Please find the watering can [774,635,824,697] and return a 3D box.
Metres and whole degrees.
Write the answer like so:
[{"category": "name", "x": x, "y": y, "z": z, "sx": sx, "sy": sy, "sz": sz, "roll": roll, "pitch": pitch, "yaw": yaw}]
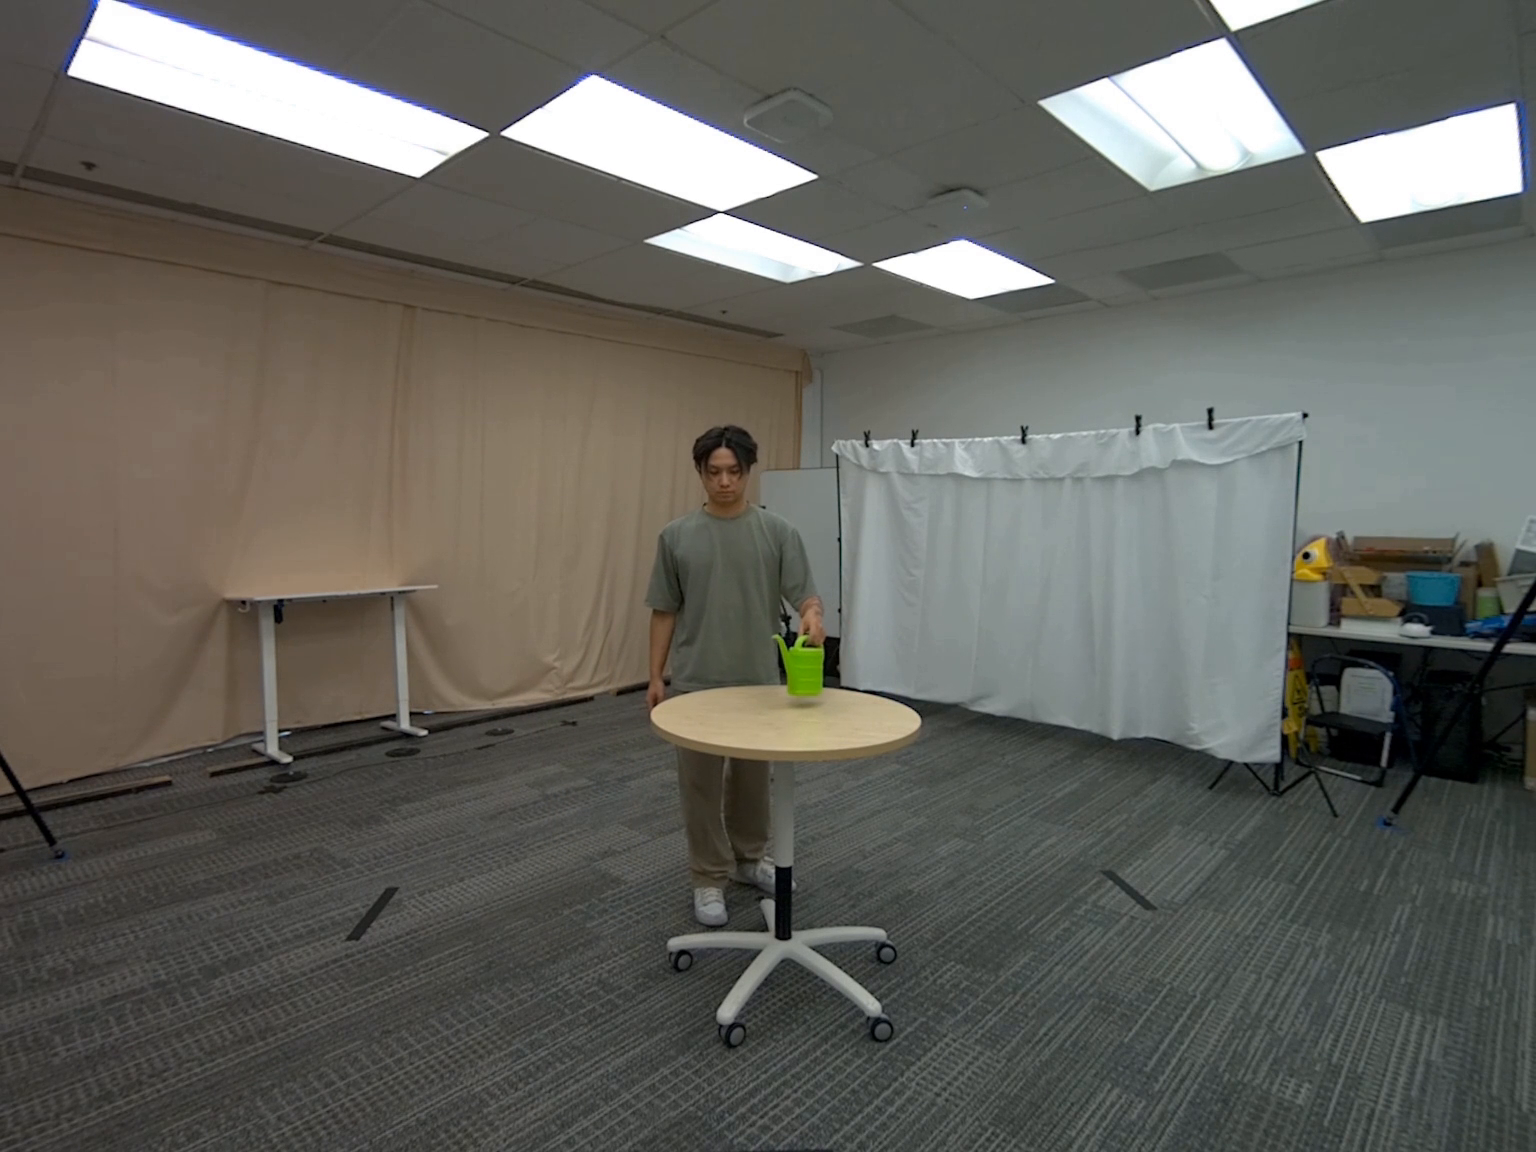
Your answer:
[{"category": "watering can", "x": 0.086, "y": 0.263, "z": 2.482, "sx": 0.269, "sy": 0.177, "sz": 0.101, "roll": 5, "pitch": -6, "yaw": -43}]
